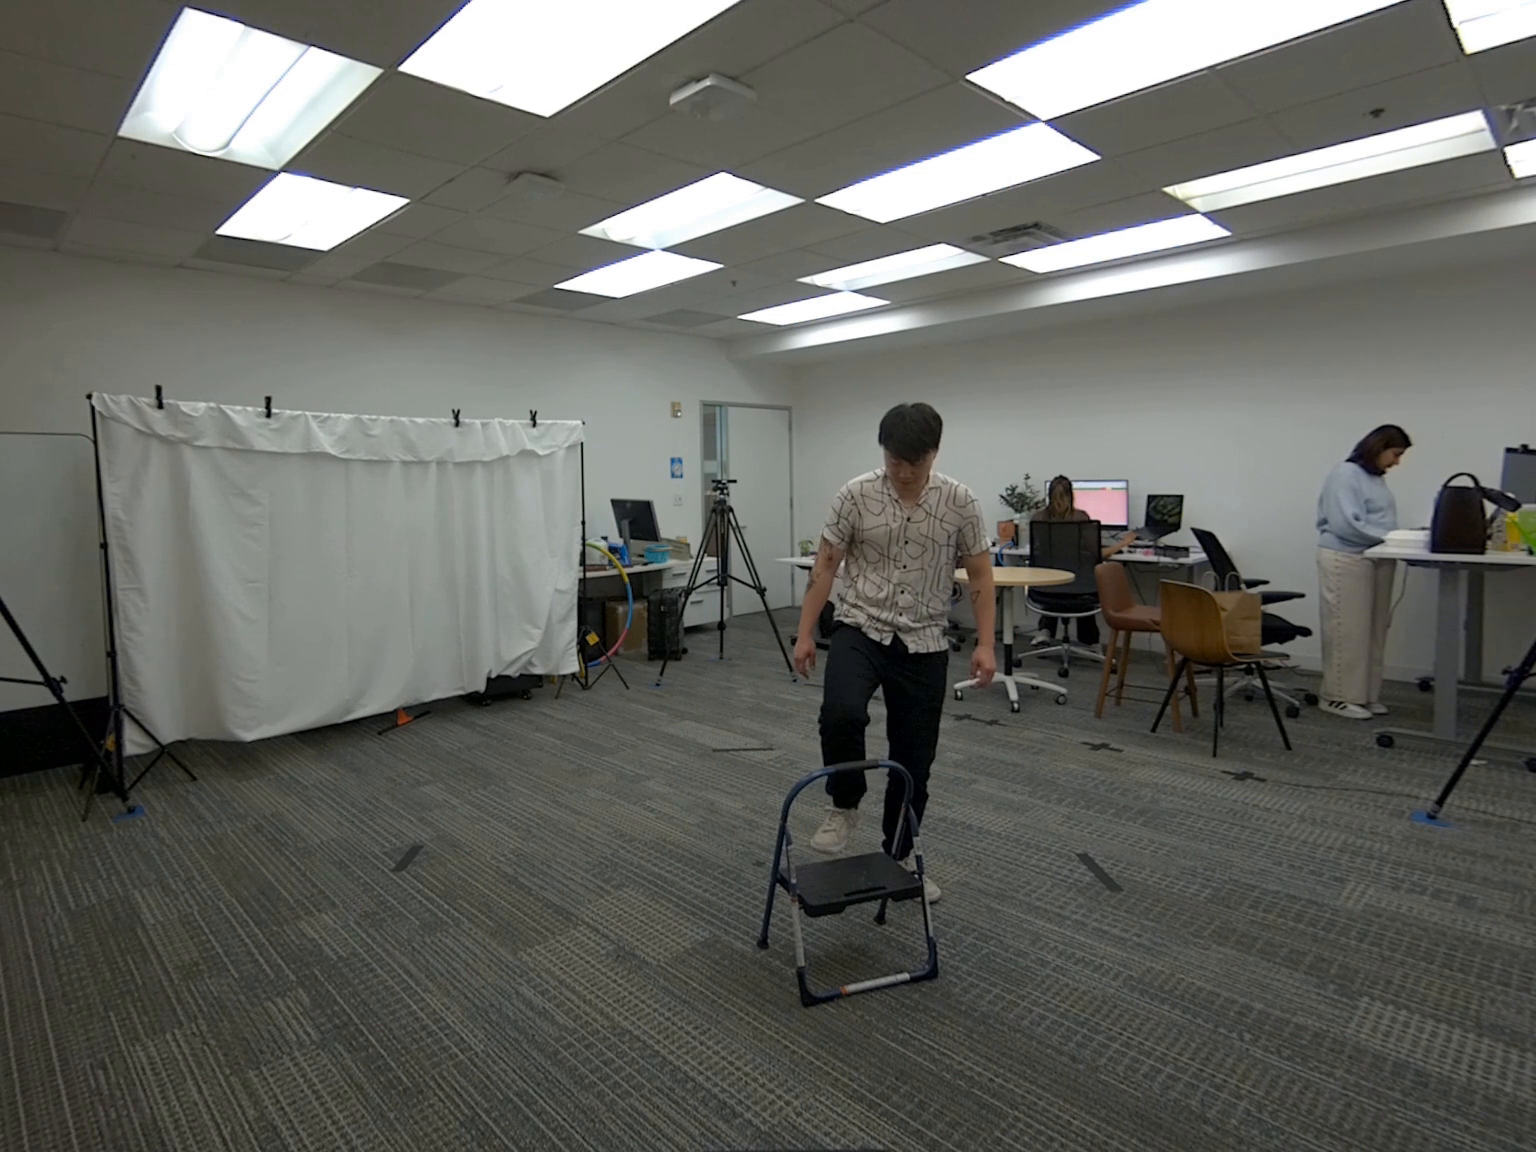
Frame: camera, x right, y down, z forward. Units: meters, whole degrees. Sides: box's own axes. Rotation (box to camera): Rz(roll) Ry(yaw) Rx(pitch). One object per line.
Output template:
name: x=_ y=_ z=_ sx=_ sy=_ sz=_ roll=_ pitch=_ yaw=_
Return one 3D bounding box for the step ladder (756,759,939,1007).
step ladder: x=0.222 y=0.815 z=2.459 sx=0.423 sy=0.603 sz=0.357 roll=-3 pitch=5 yaw=-21
